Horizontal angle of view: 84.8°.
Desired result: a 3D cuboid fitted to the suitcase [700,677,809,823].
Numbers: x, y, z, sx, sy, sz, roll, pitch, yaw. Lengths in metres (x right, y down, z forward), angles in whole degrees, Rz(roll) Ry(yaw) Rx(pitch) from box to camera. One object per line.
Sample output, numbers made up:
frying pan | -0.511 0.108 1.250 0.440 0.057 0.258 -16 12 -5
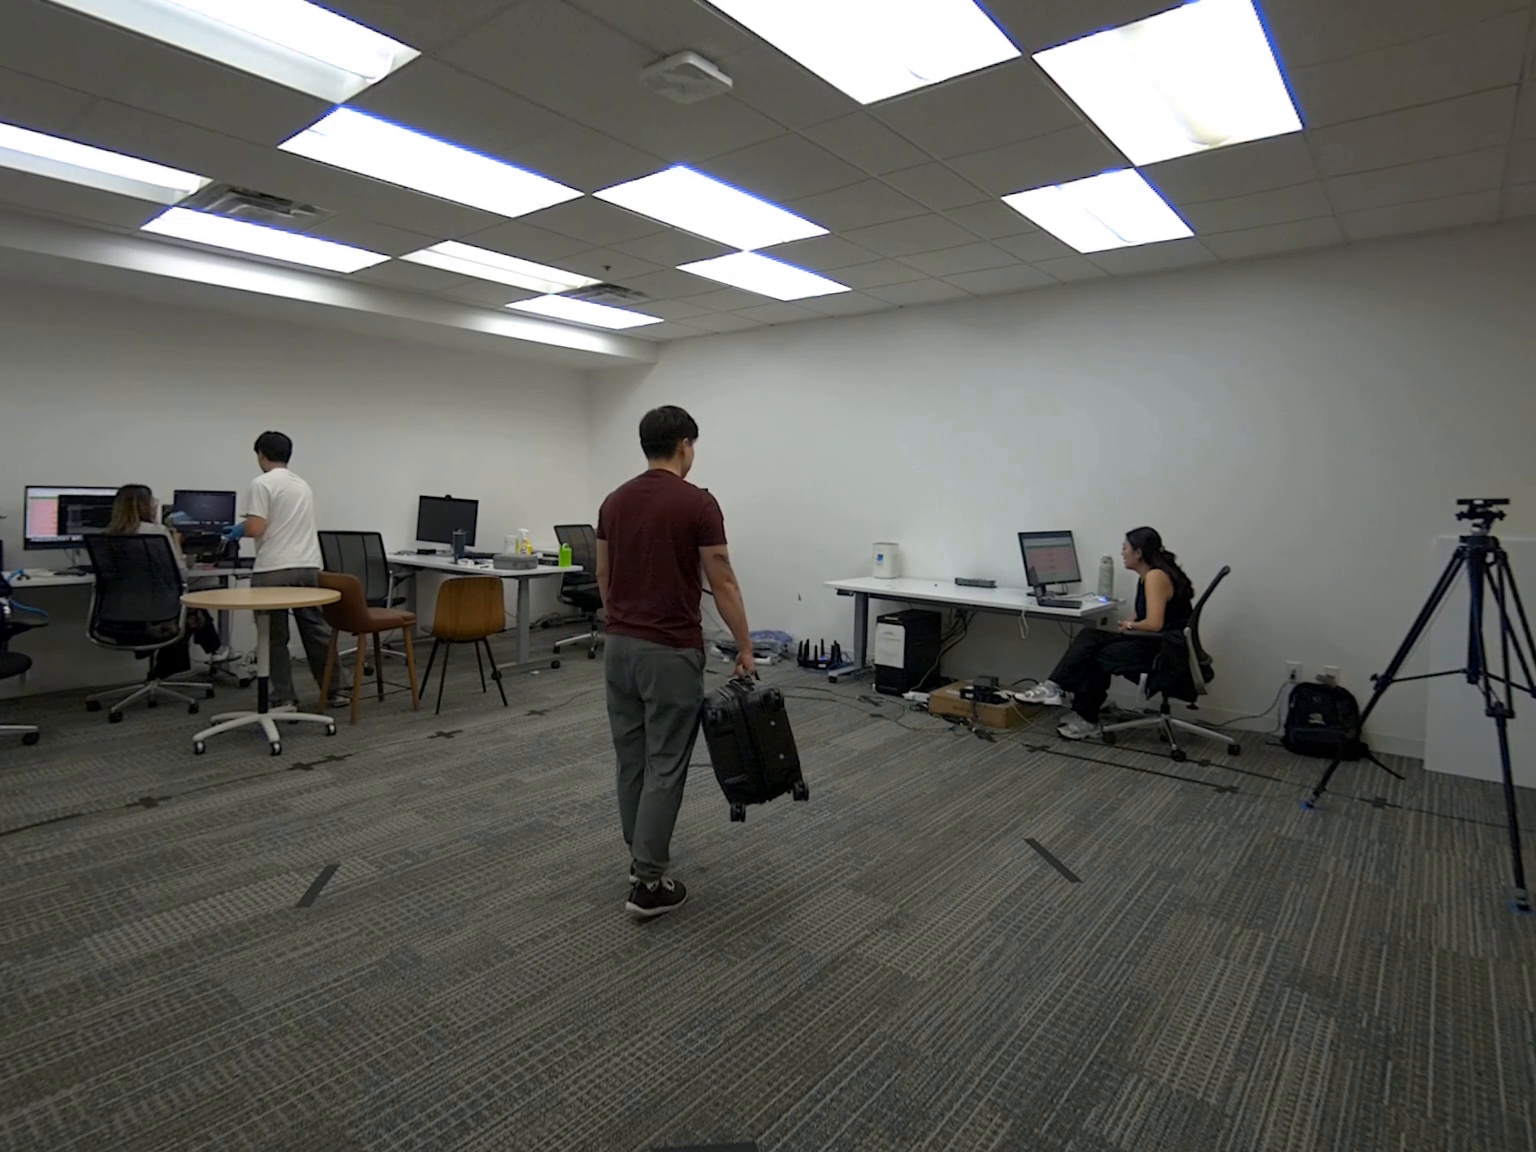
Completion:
suitcase | -0.111 0.559 3.093 0.255 0.385 0.983 -13 -1 -10
